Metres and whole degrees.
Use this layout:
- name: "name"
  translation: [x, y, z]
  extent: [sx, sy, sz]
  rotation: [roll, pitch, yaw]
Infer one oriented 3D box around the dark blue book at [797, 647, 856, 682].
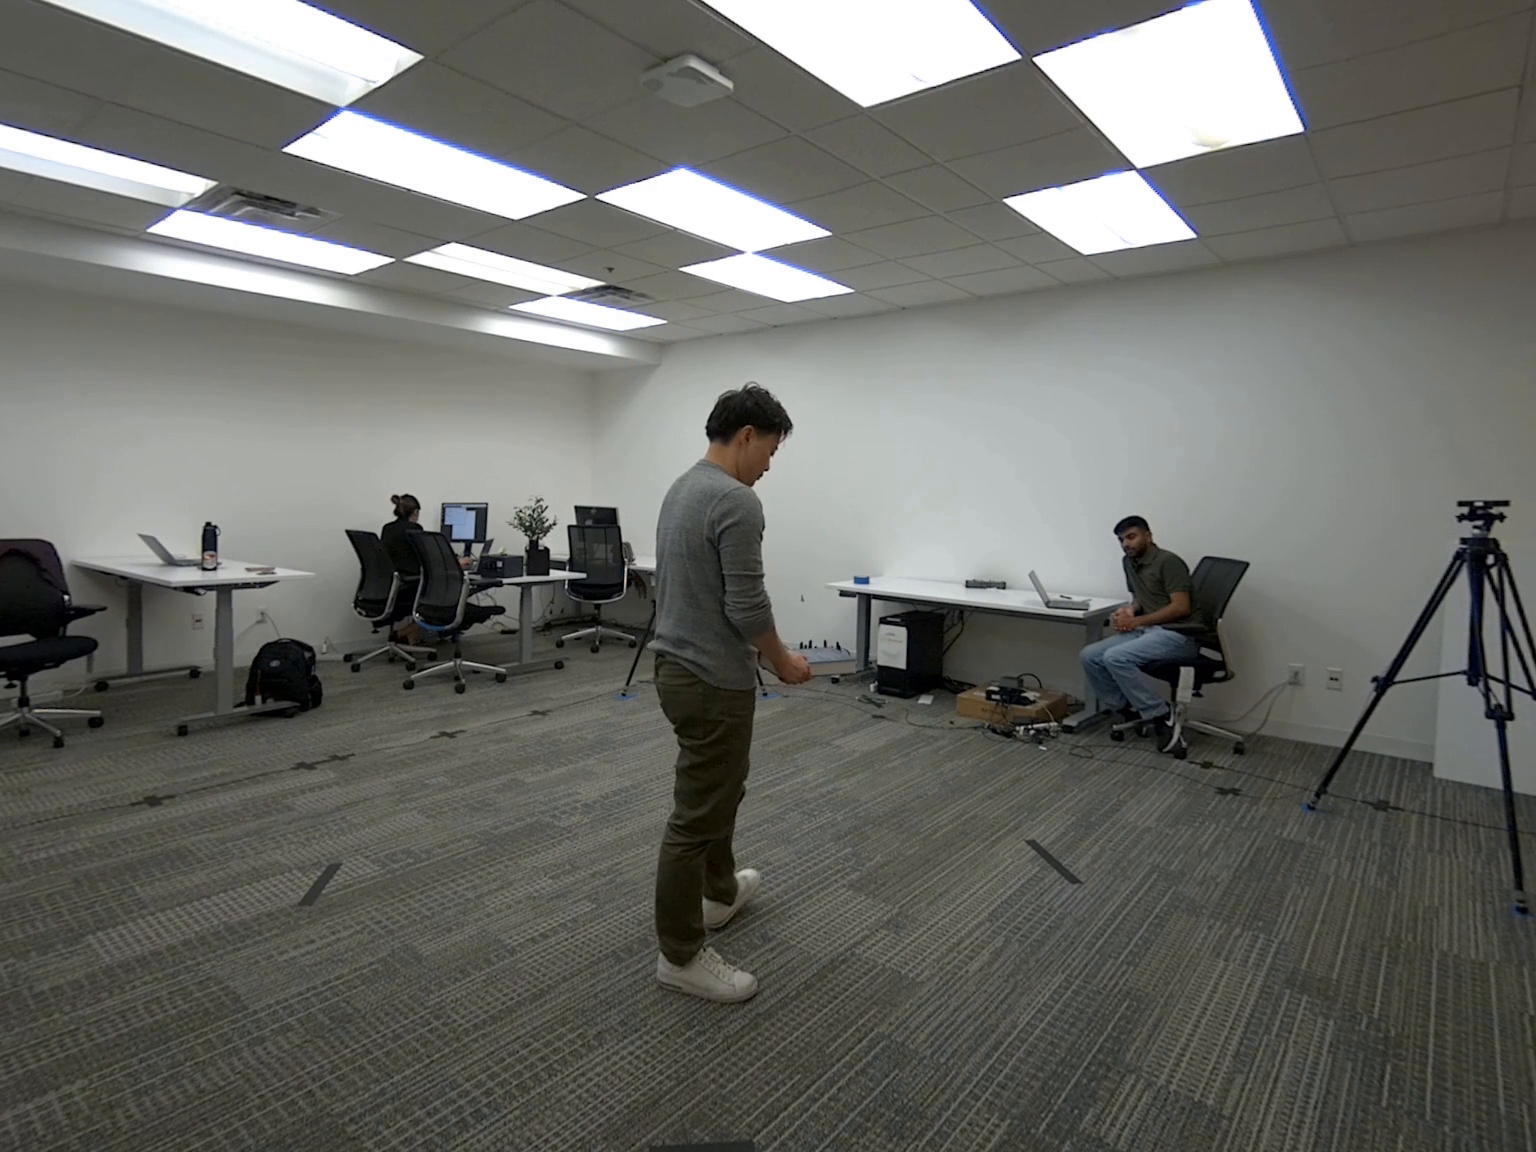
- name: "dark blue book"
  translation: [0.114, 0.253, 2.491]
  extent: [0.242, 0.045, 0.166]
  rotation: [-2, 9, -11]
